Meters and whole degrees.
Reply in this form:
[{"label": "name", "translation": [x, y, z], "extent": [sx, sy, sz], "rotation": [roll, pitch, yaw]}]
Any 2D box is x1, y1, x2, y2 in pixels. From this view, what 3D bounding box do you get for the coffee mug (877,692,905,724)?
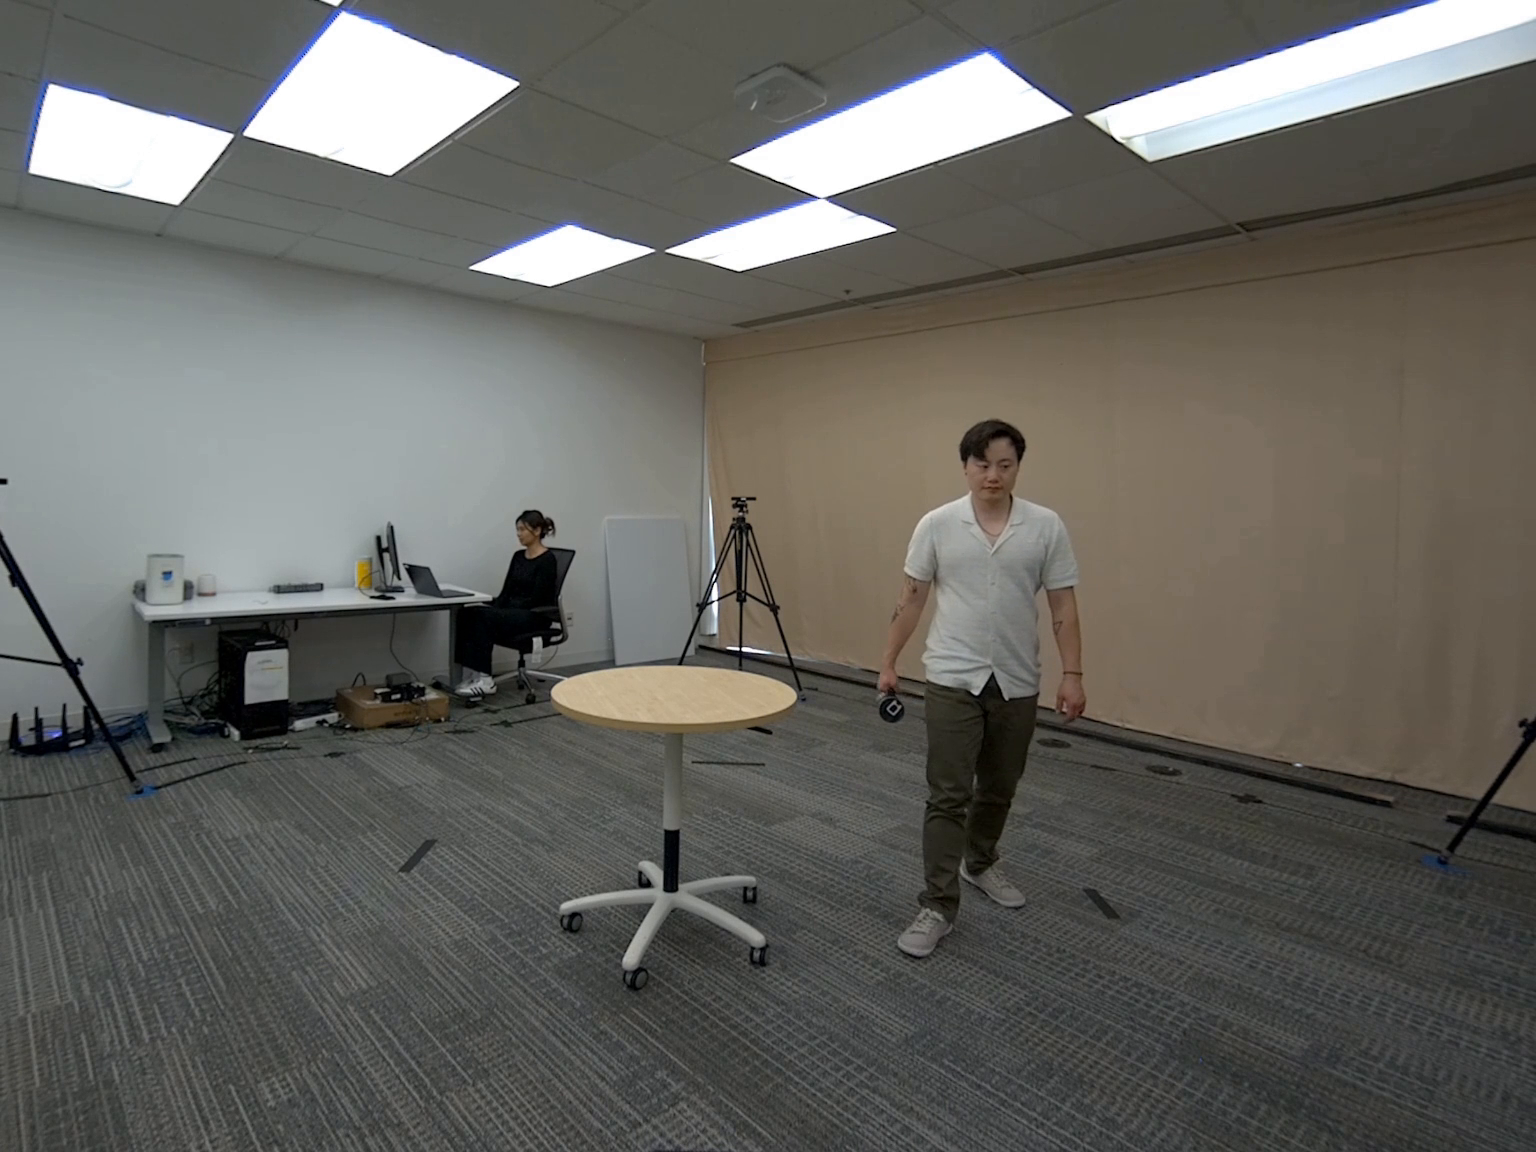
[{"label": "coffee mug", "translation": [0.433, 0.437, 2.954], "extent": [0.088, 0.122, 0.201], "rotation": [7, 0, 6]}]
